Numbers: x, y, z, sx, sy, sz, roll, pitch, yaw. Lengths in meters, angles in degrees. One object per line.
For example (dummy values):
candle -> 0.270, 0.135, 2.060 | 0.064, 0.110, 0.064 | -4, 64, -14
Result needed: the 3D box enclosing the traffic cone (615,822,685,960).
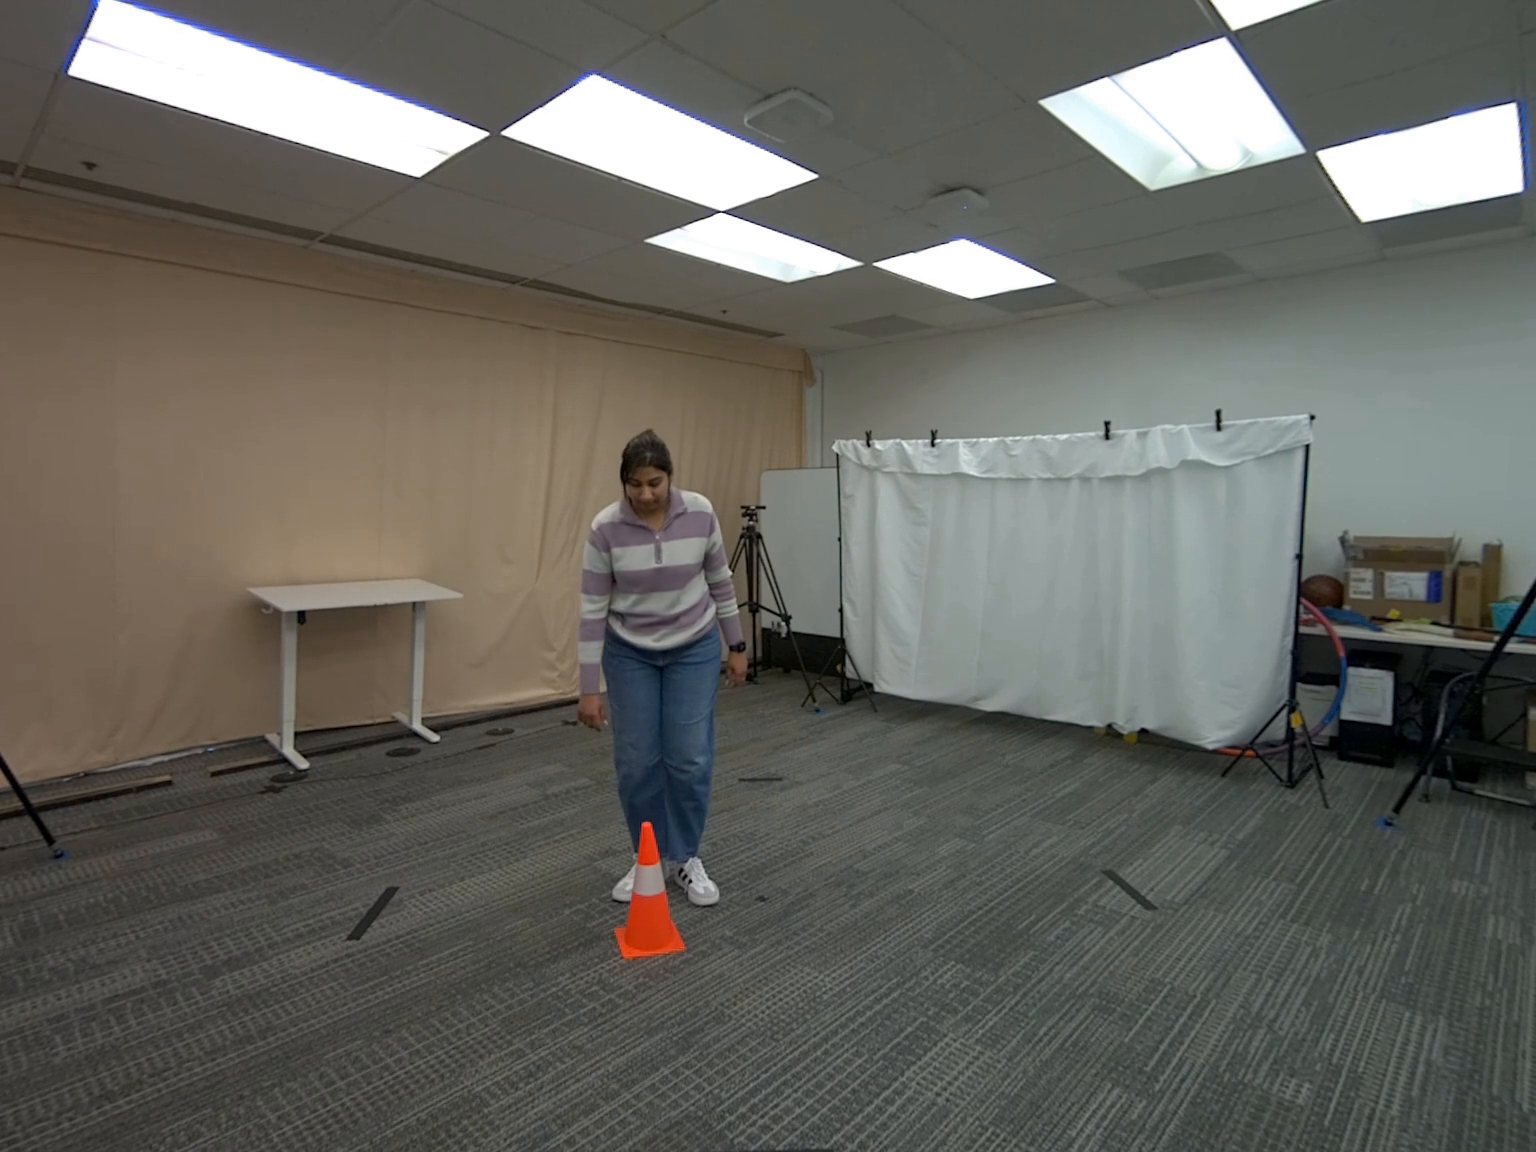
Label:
traffic cone -> -0.376, 0.979, 2.699 | 0.201, 0.383, 0.207 | 0, 4, -18
